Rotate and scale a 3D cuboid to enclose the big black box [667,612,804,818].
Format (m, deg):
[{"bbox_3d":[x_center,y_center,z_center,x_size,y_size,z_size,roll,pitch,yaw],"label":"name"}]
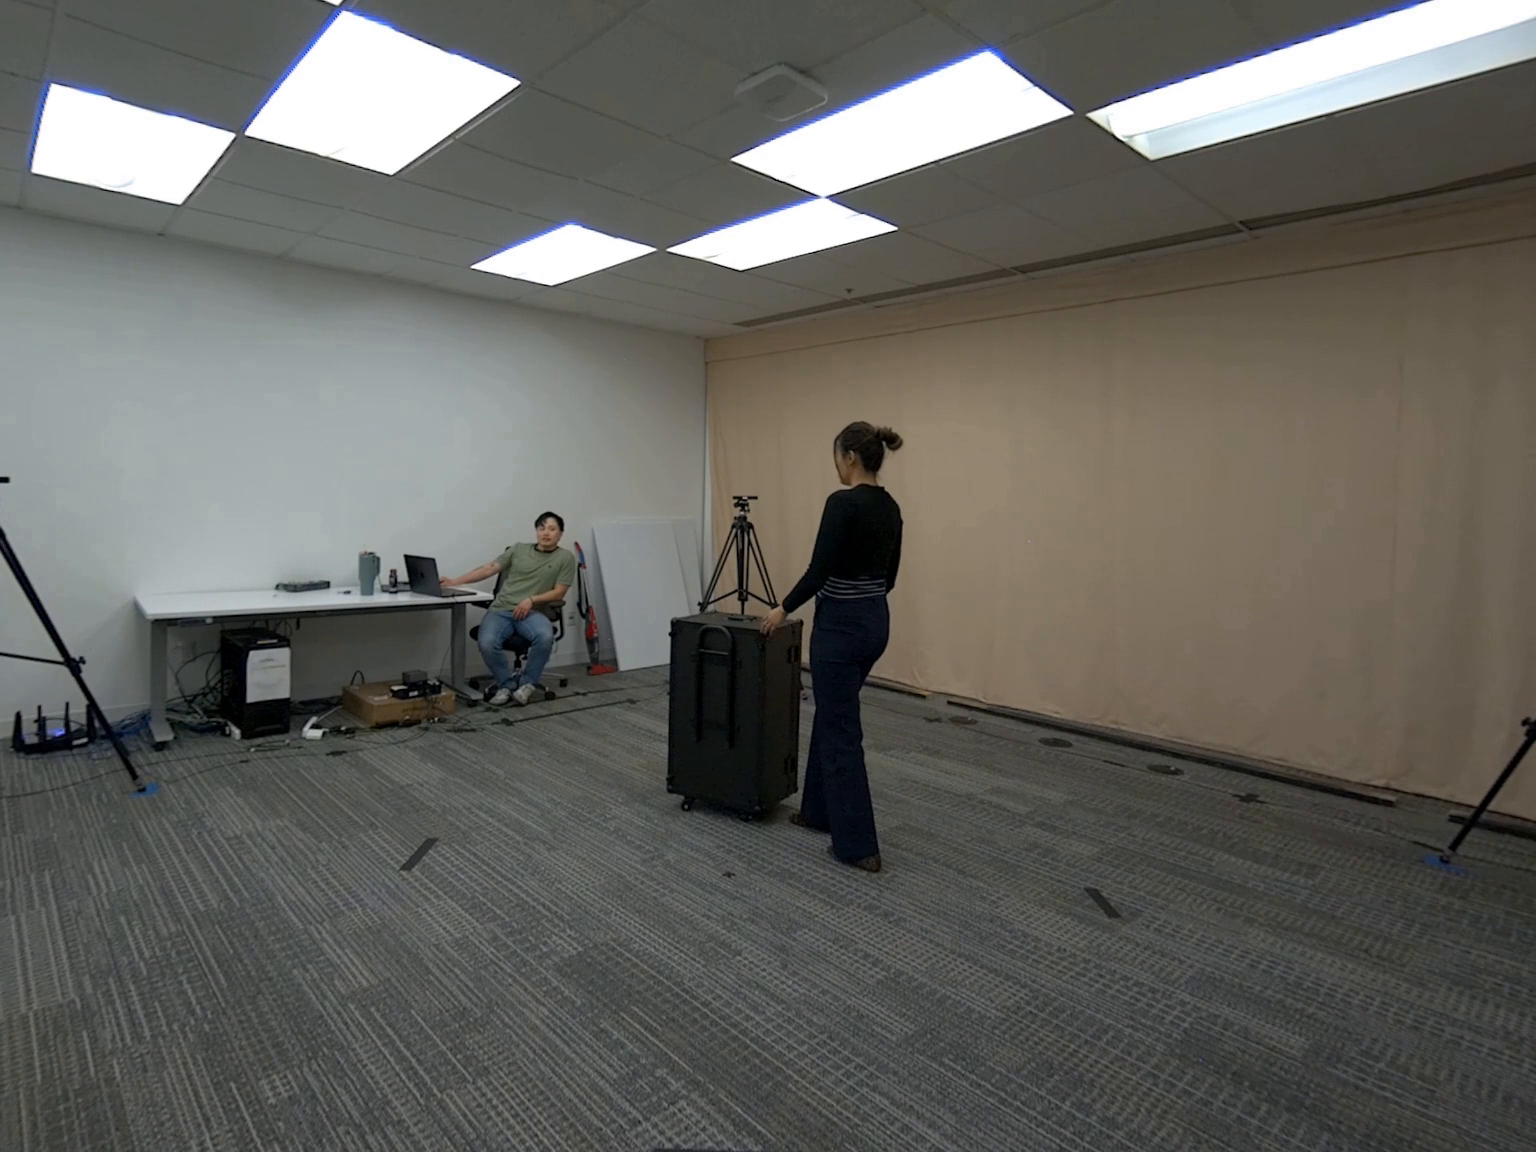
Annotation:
[{"bbox_3d":[-0.156,0.622,3.766,0.533,0.859,0.389,4,5,29],"label":"big black box"}]
